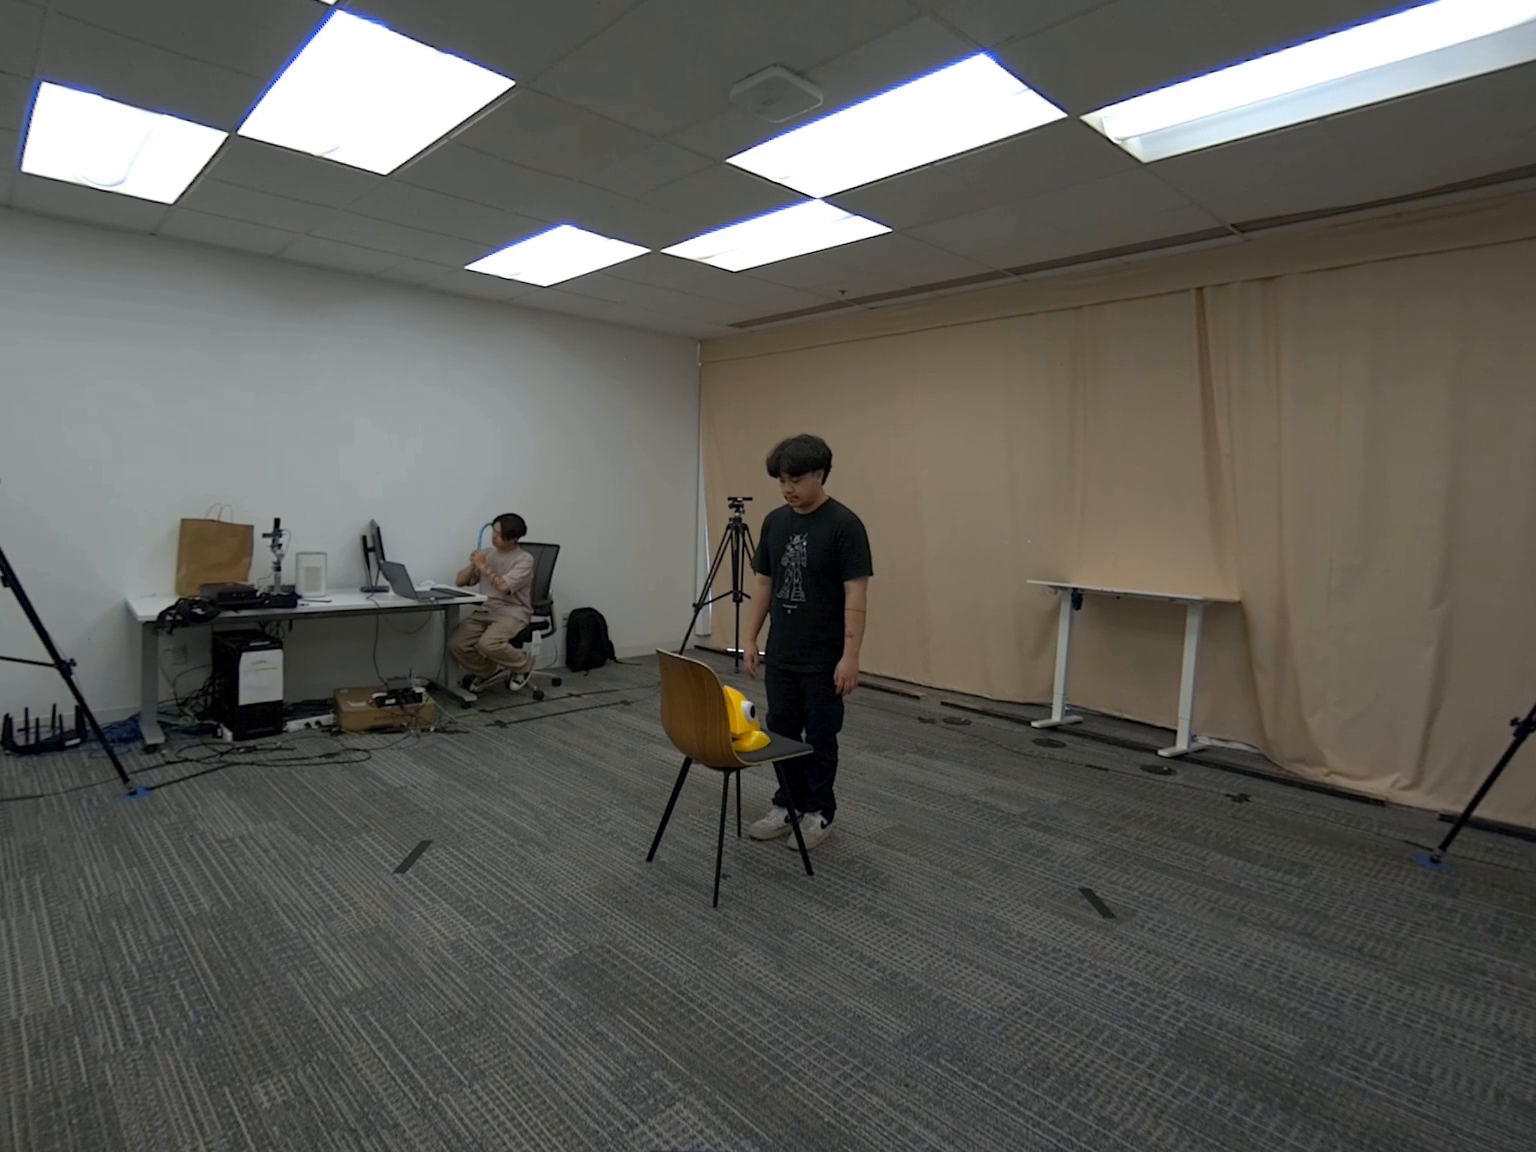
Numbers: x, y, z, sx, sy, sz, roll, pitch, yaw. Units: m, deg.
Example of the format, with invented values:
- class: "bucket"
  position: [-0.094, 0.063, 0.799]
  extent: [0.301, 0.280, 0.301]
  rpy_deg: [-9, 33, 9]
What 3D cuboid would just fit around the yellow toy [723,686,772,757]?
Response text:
- class: "yellow toy"
  position: [-0.114, 0.514, 3.138]
  extent: [0.189, 0.230, 0.210]
  rpy_deg: [-8, 8, -38]
